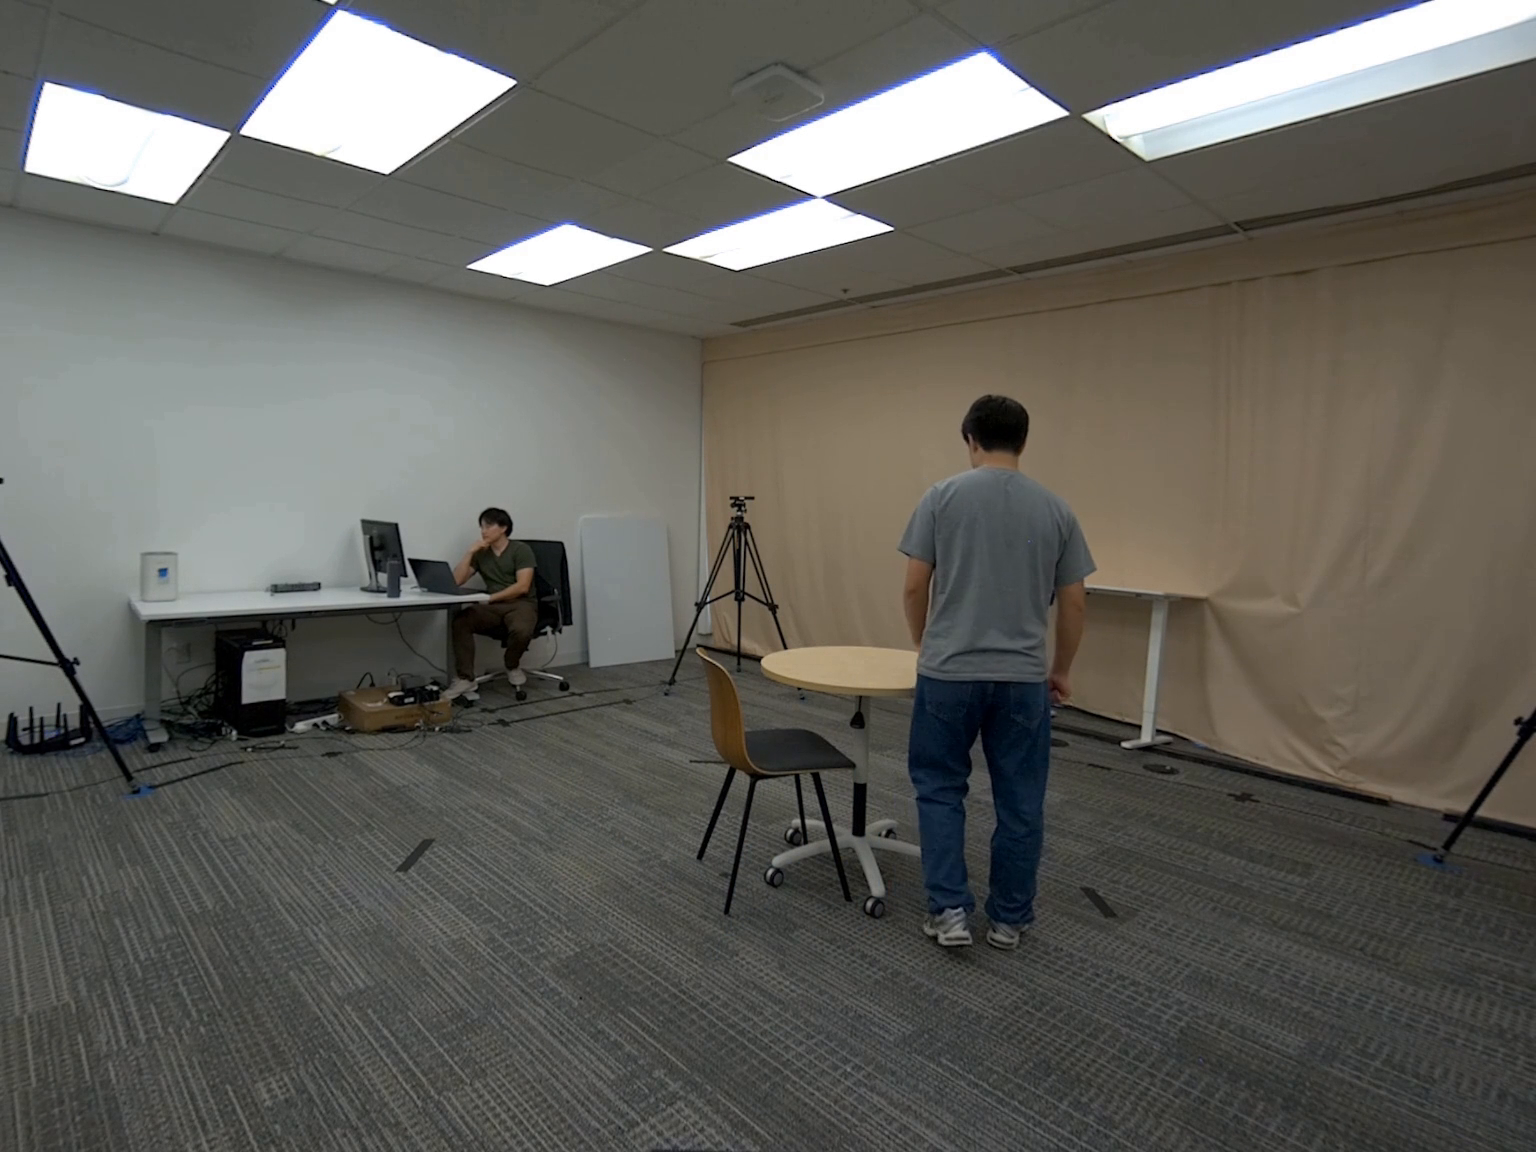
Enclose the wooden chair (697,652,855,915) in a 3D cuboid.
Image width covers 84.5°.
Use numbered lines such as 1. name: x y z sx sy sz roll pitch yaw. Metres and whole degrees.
1. wooden chair: 0.017 0.681 3.047 0.517 0.874 0.485 -4 4 -15
